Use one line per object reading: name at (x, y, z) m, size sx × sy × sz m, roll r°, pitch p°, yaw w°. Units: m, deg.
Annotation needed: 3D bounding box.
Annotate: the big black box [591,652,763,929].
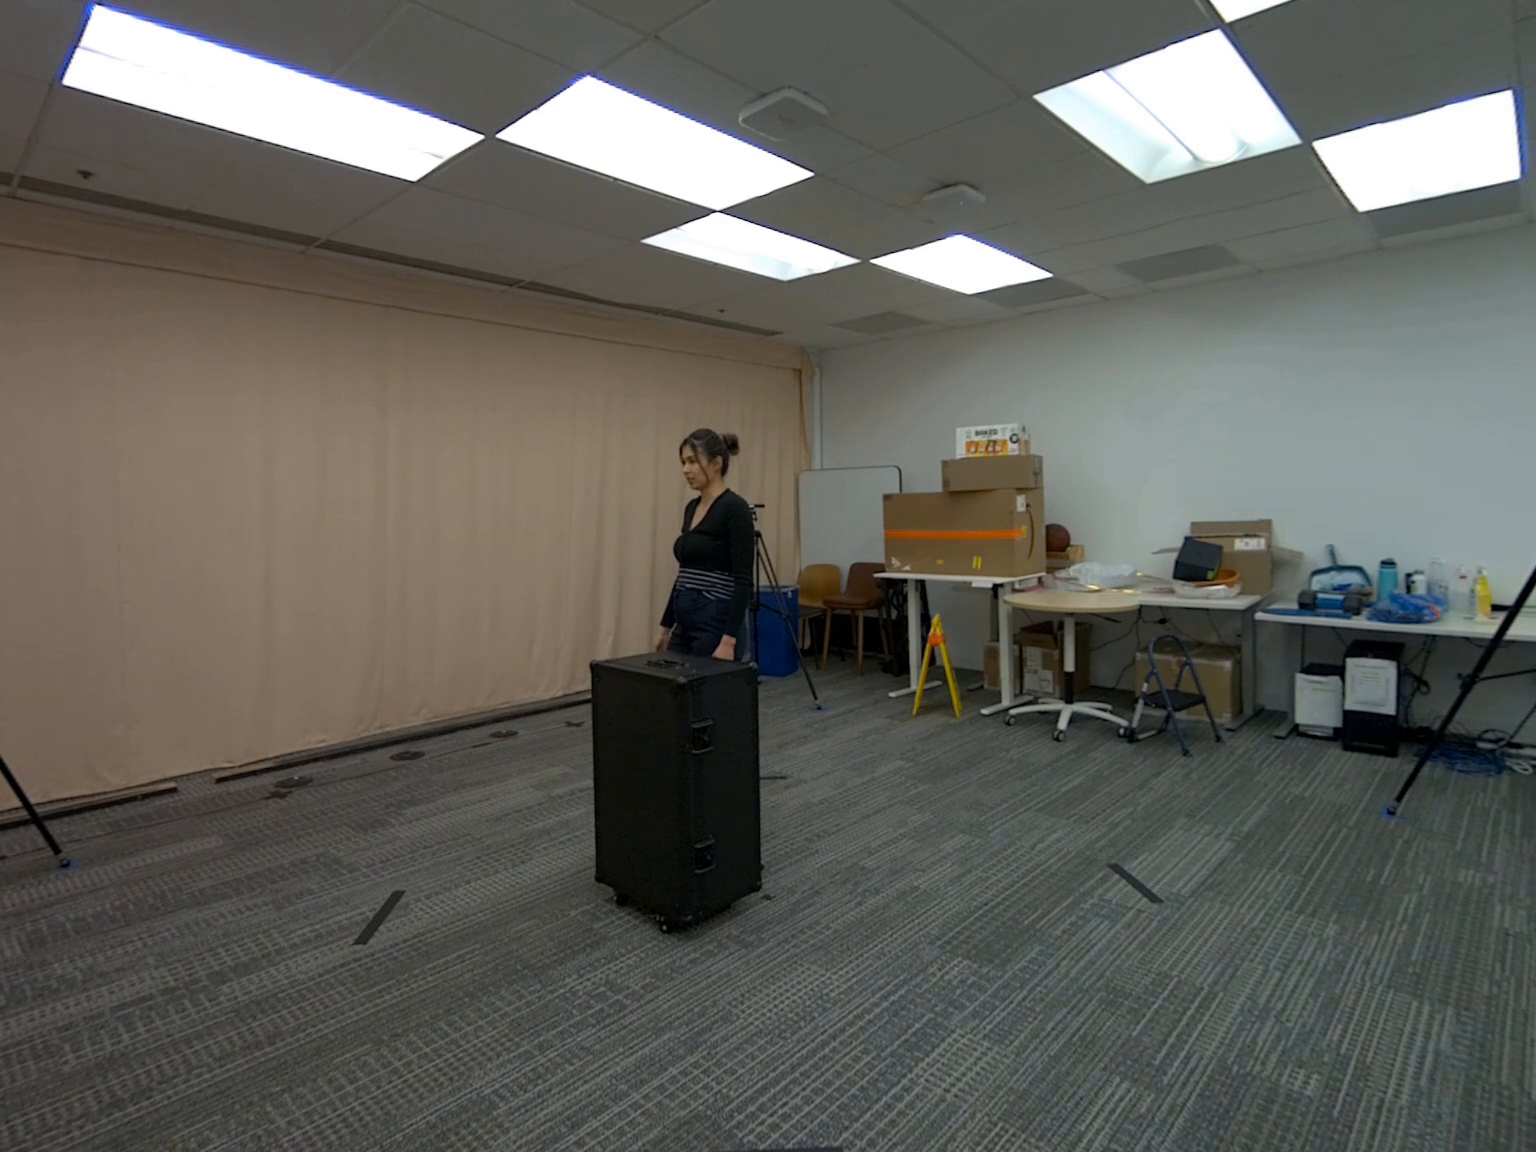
big black box at (-0.310, 0.665, 2.931) m, size 0.538 × 0.860 × 0.384 m, roll 2°, pitch 3°, yaw 44°
